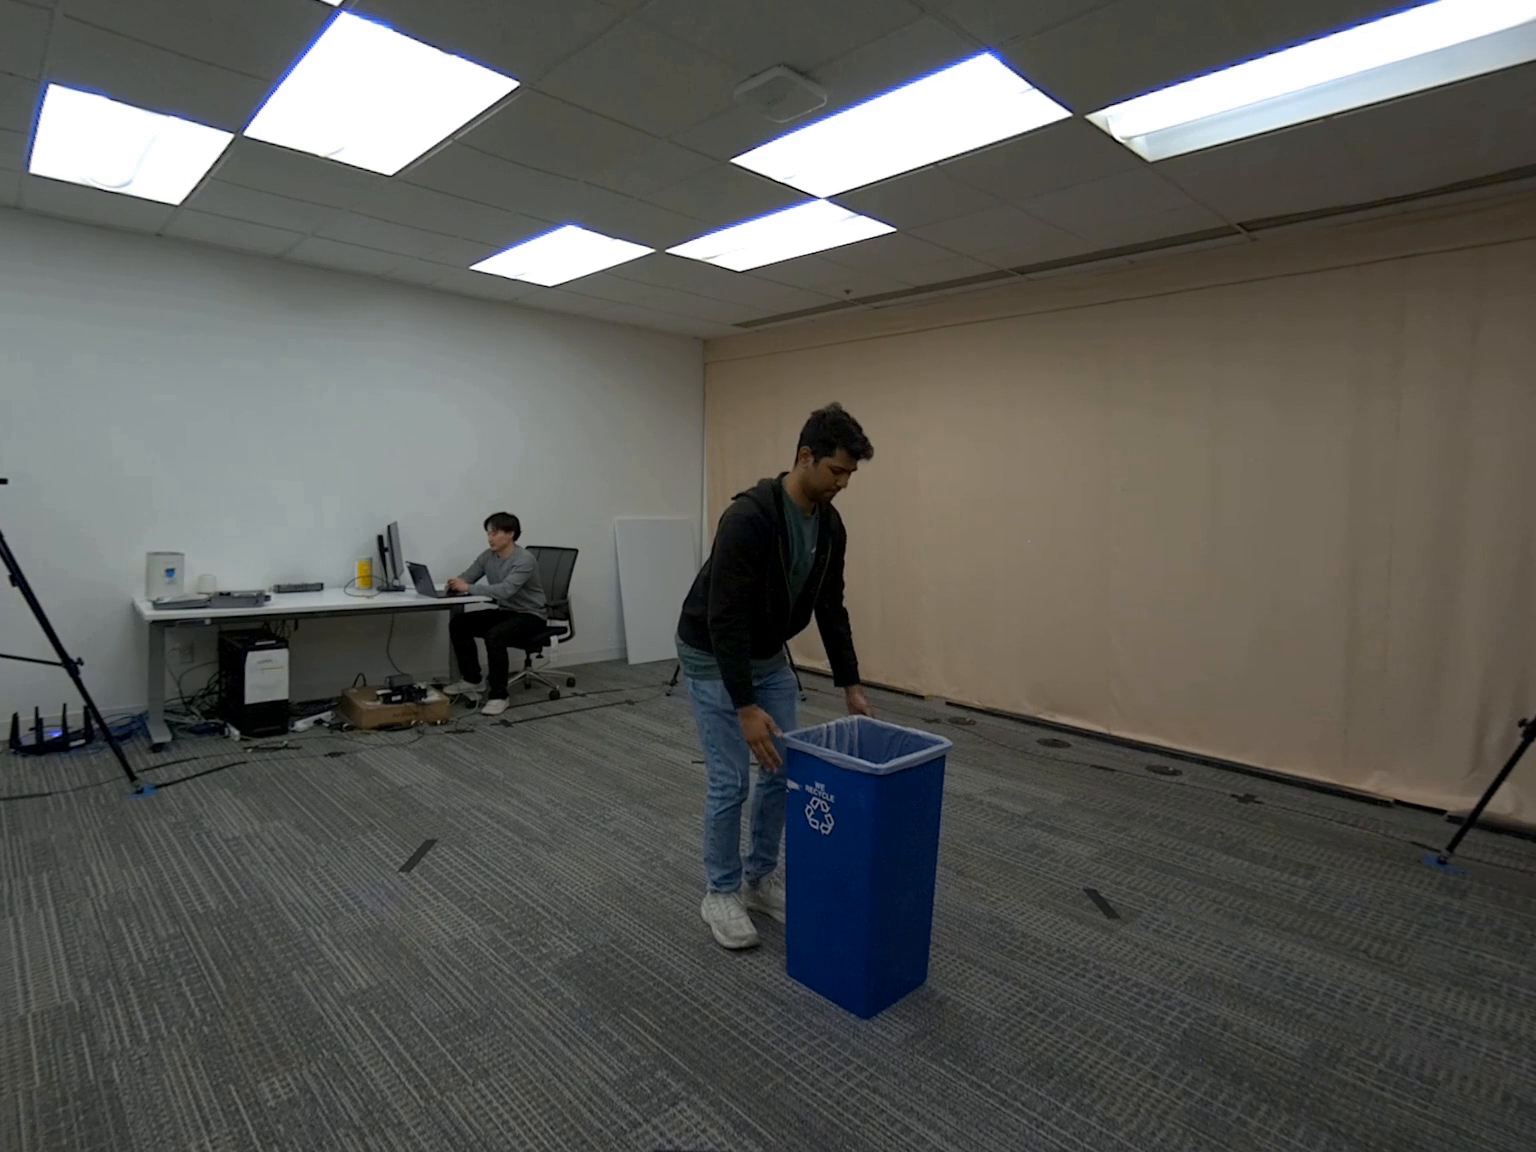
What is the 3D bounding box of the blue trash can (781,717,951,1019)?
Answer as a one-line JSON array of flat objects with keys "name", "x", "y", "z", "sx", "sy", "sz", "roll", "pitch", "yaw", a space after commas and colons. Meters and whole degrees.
[{"name": "blue trash can", "x": 0.274, "y": 0.821, "z": 2.440, "sx": 0.369, "sy": 0.711, "sz": 0.384, "roll": -3, "pitch": 5, "yaw": -44}]
